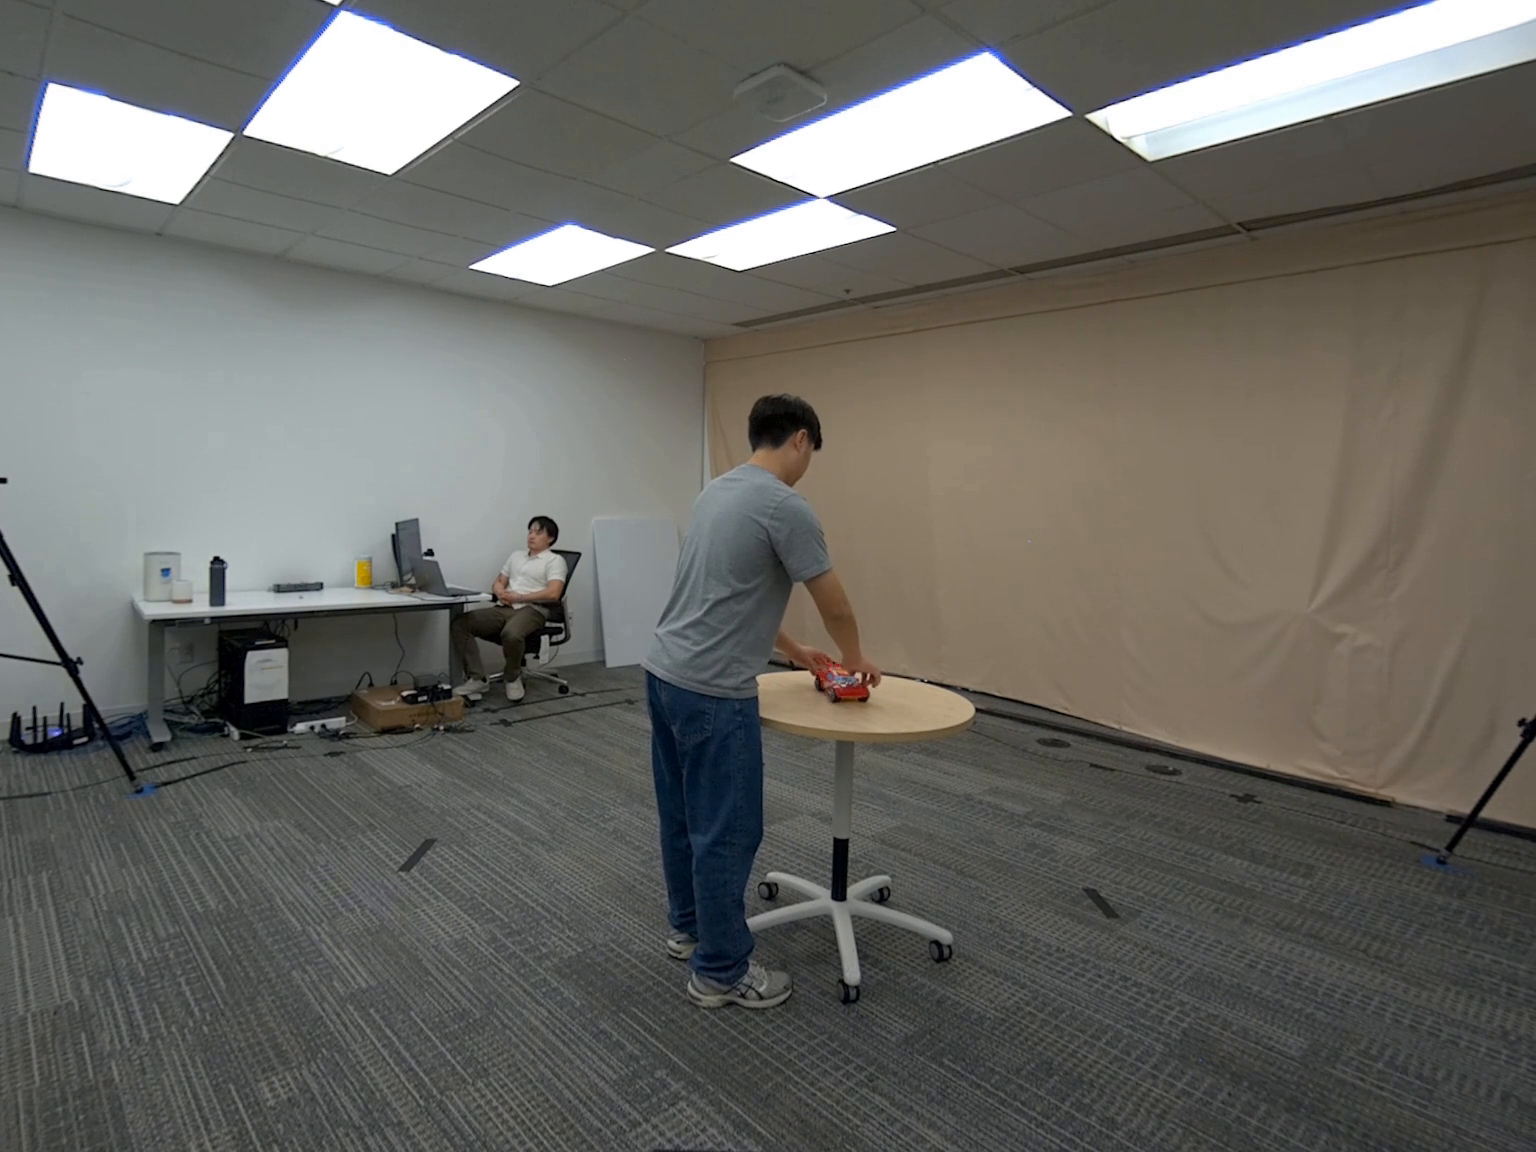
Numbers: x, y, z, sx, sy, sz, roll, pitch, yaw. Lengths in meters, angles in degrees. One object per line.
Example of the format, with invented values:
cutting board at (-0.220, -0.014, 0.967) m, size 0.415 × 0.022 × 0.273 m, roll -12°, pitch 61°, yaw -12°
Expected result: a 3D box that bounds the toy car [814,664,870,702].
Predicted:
toy car at (0.226, 0.346, 2.640) m, size 0.129 × 0.082 × 0.259 m, roll 1°, pitch 17°, yaw -12°
